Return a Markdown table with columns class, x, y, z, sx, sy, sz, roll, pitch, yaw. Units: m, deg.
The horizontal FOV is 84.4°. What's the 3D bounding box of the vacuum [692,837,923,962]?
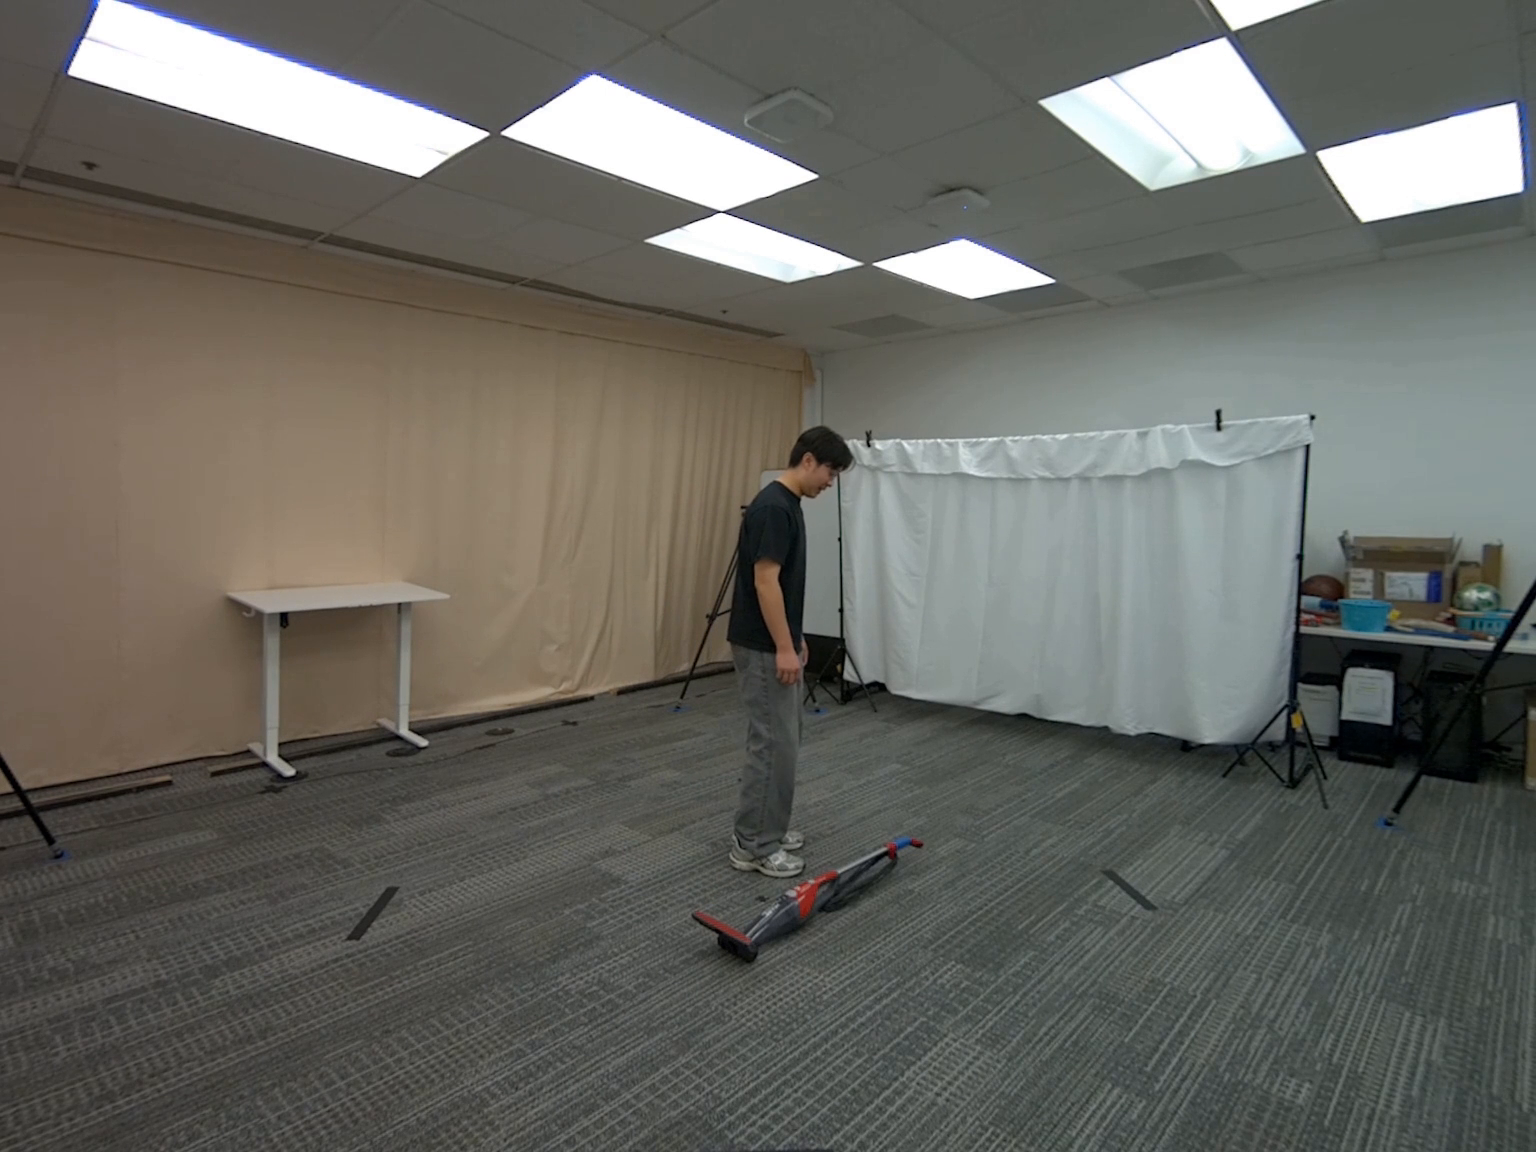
| class | x | y | z | sx | sy | sz | roll | pitch | yaw |
| --- | --- | --- | --- | --- | --- | --- | --- | --- | --- |
| vacuum | 0.234 | 1.087 | 2.940 | 1.017 | 0.143 | 0.261 | -4 | 6 | -44 |
